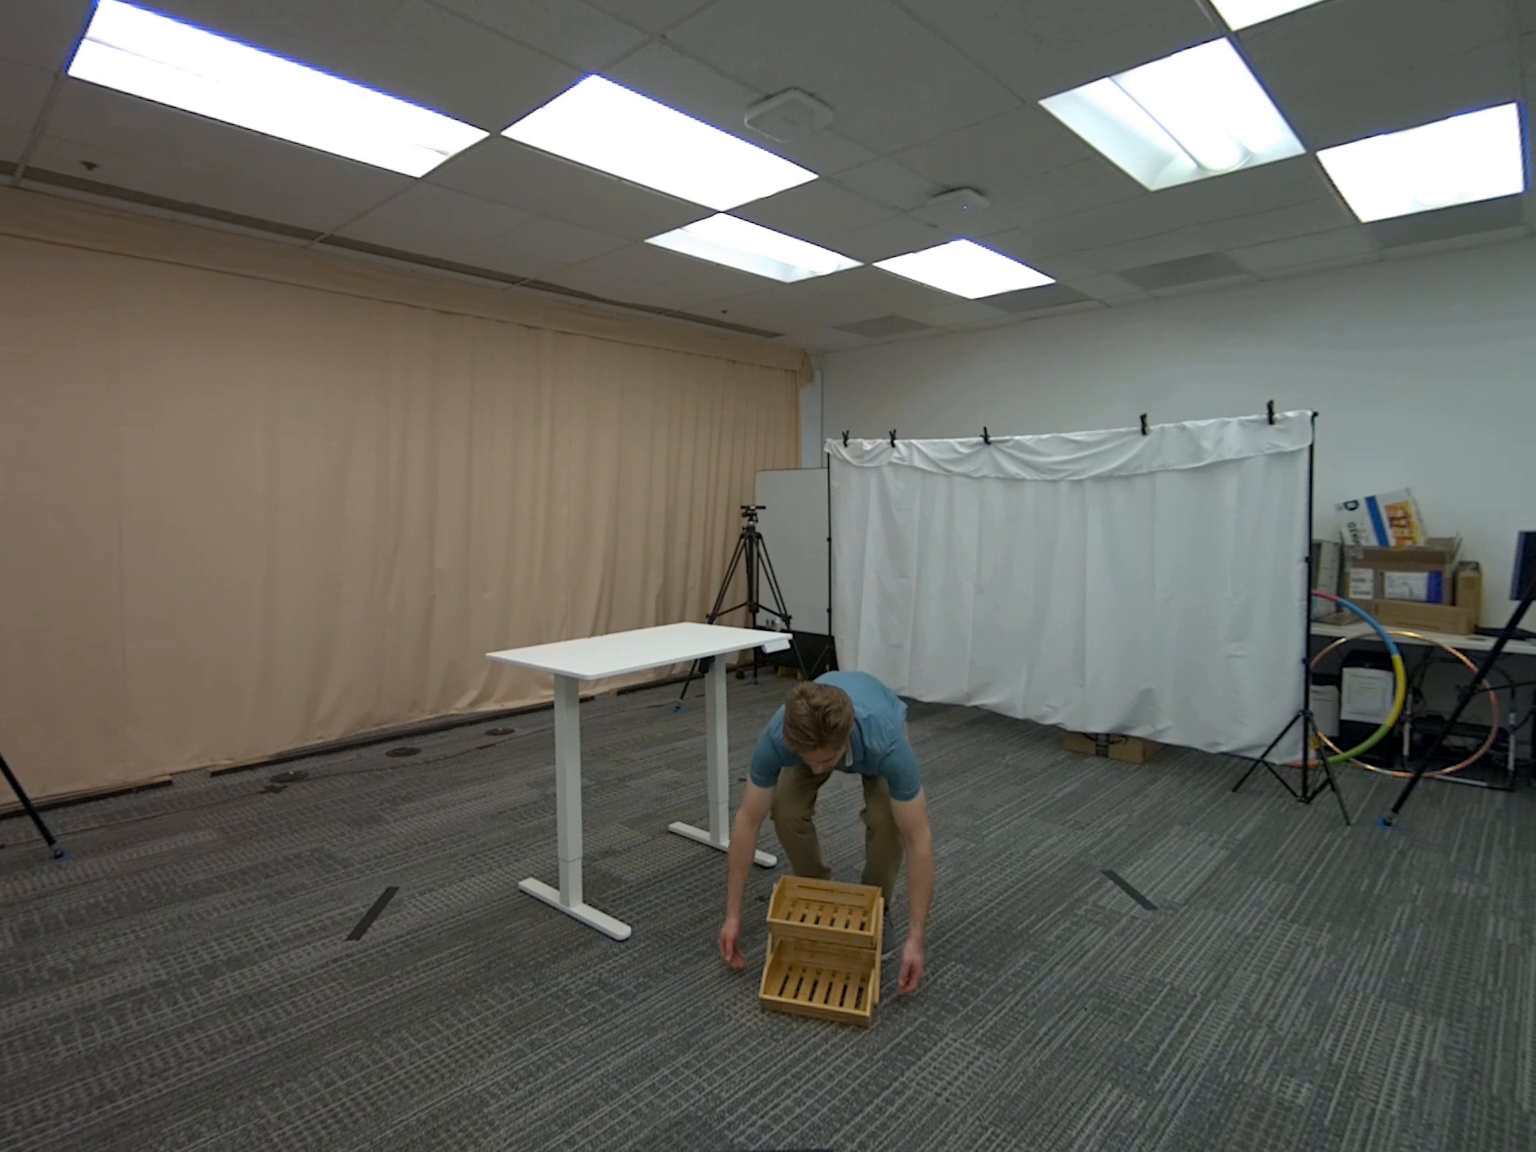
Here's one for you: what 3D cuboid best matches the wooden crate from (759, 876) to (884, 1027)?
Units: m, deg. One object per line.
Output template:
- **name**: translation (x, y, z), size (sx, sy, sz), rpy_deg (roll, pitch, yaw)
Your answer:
- **wooden crate**: translation (0.164, 1.058, 2.403), size (0.330, 0.273, 0.297), rpy_deg (1, 3, 15)
